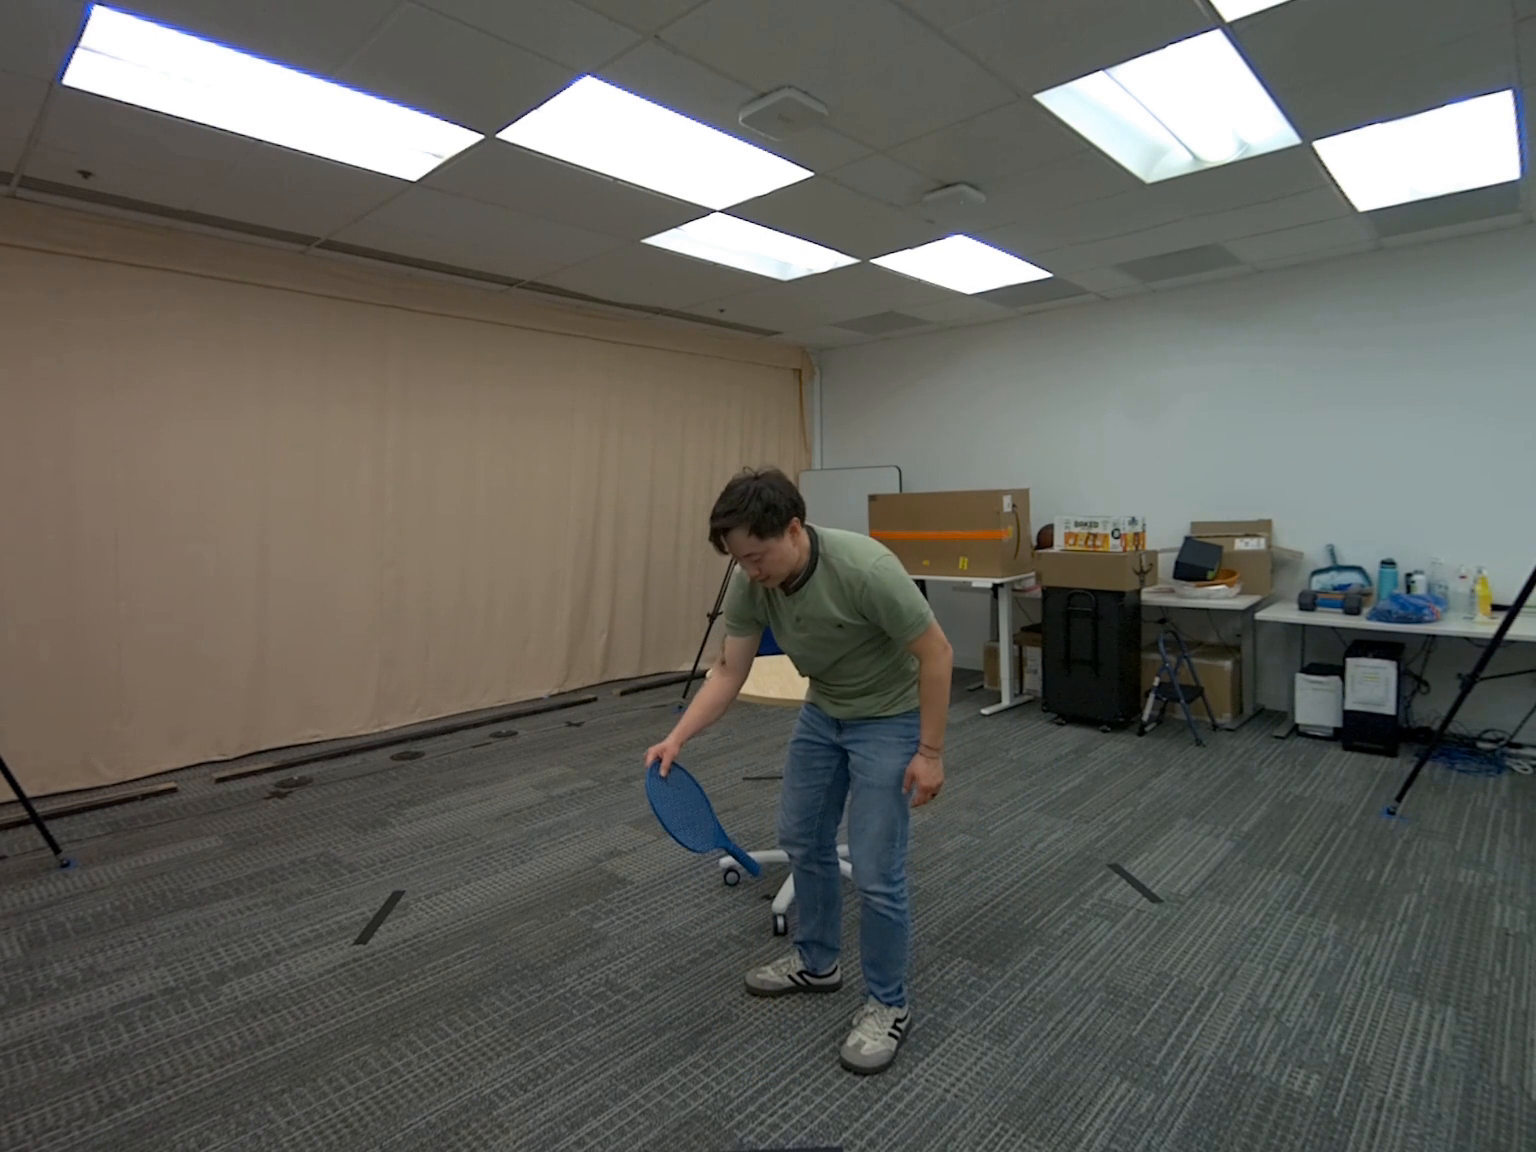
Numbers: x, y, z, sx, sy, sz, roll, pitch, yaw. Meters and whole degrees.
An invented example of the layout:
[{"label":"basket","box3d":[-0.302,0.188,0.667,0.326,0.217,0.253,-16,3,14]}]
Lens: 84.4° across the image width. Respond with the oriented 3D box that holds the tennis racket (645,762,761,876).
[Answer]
[{"label":"tennis racket","box3d":[-0.155,0.613,2.068,0.032,0.421,0.217,-31,29,19]}]
